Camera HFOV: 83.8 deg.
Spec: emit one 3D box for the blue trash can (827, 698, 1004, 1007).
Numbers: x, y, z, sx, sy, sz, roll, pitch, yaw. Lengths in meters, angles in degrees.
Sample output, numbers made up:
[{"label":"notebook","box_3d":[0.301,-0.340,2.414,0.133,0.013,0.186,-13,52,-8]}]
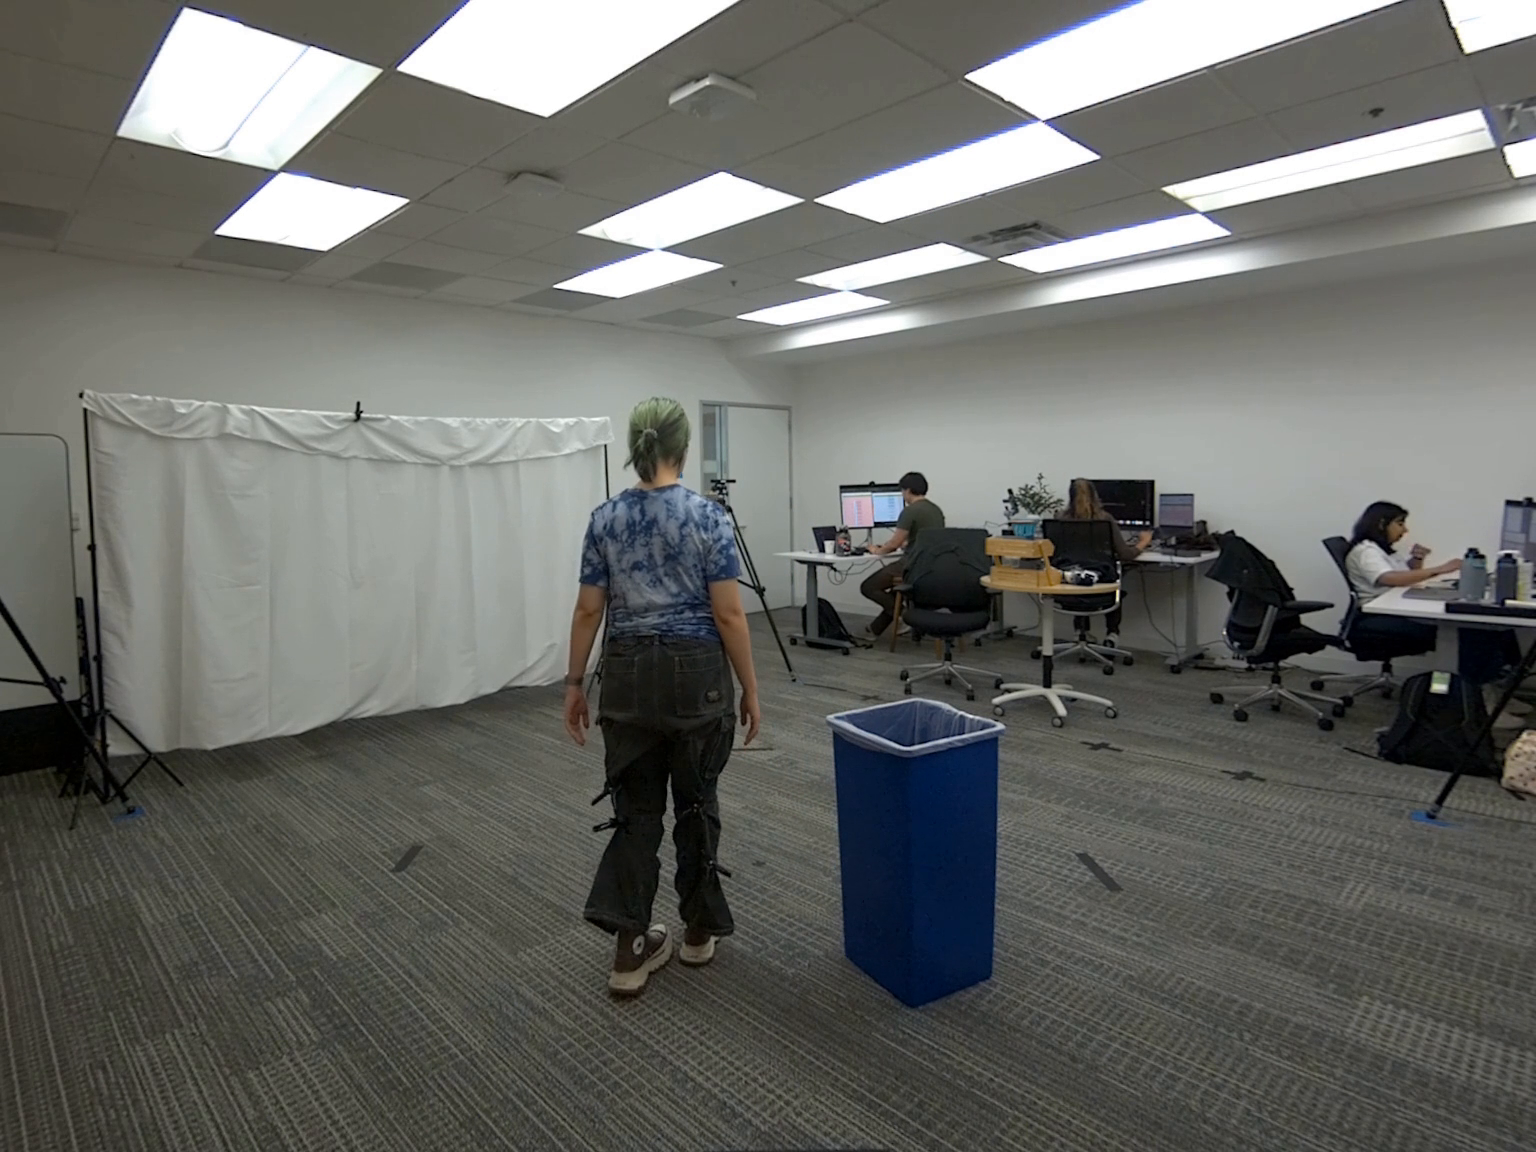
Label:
[{"label":"blue trash can","box_3d":[0.417,0.760,2.412,0.365,0.711,0.388,-3,5,-30]}]
